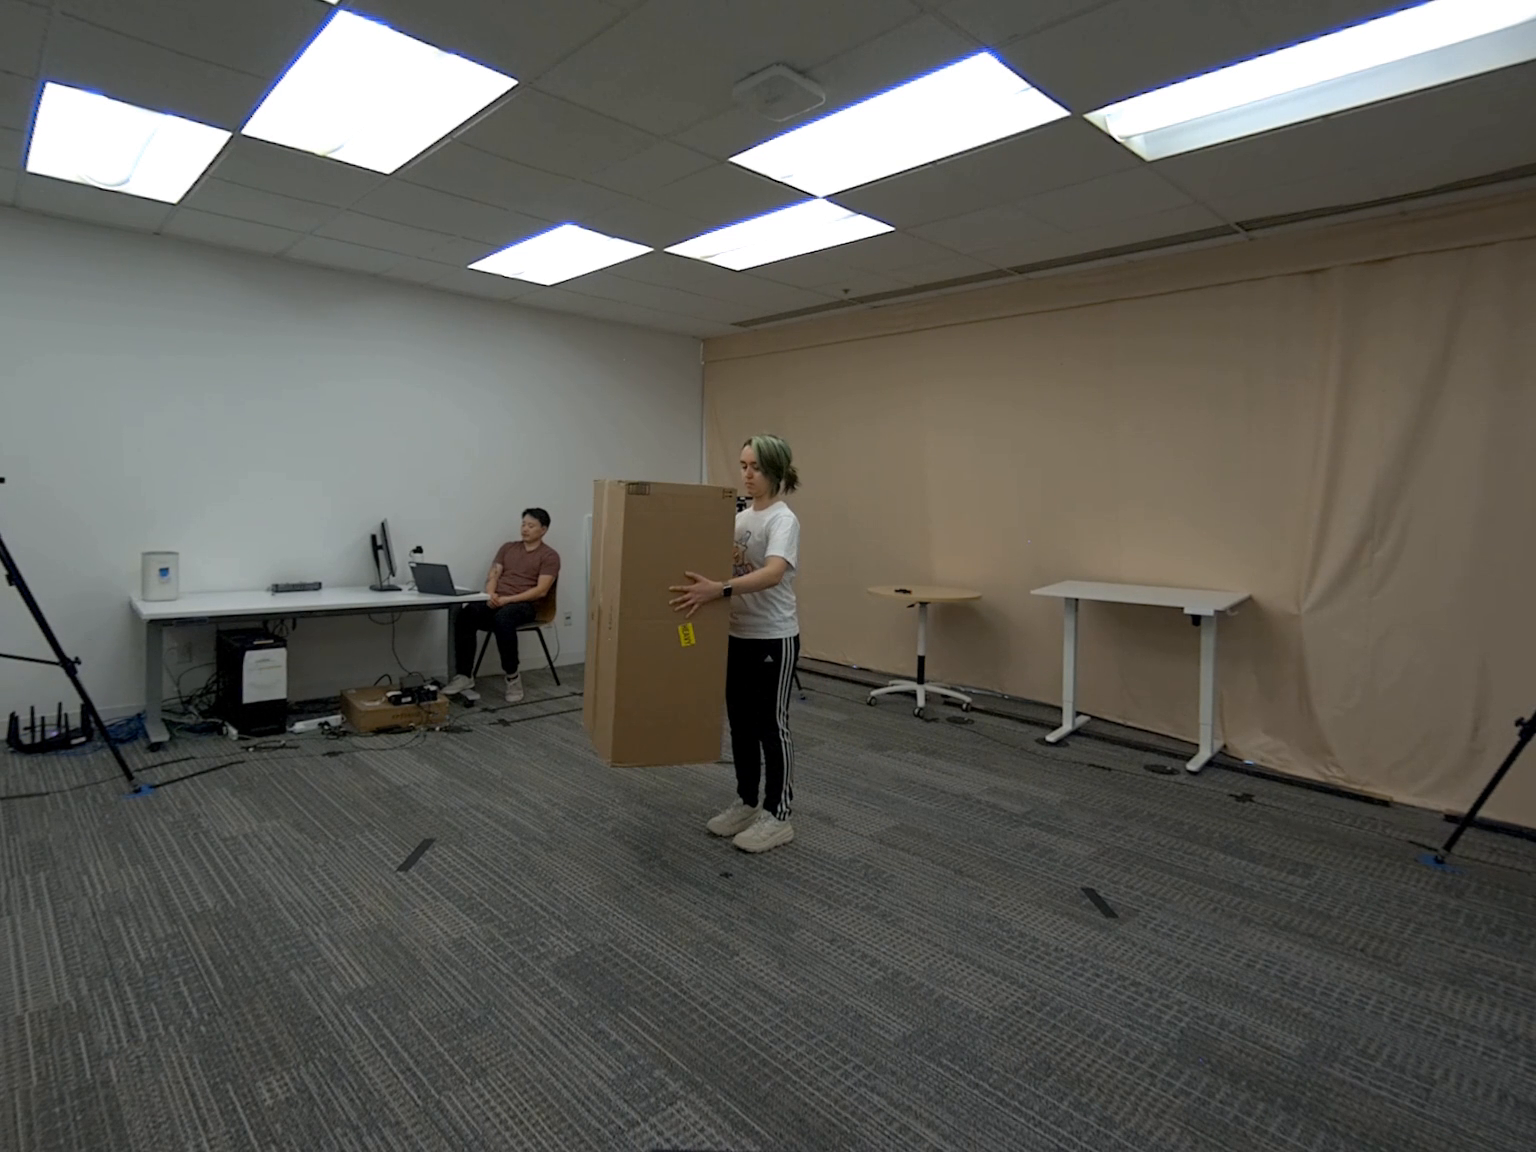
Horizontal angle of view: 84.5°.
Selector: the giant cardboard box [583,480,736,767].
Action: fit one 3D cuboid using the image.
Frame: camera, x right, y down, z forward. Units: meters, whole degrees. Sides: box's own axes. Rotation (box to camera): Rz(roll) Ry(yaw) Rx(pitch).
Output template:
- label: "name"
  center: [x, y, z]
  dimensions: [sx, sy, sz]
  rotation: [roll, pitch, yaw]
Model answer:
- label: "giant cardboard box"
  center: [-0.444, 0.152, 3.286]
  dimensions: [0.419, 1.024, 0.588]
  rotation: [2, 3, -22]
